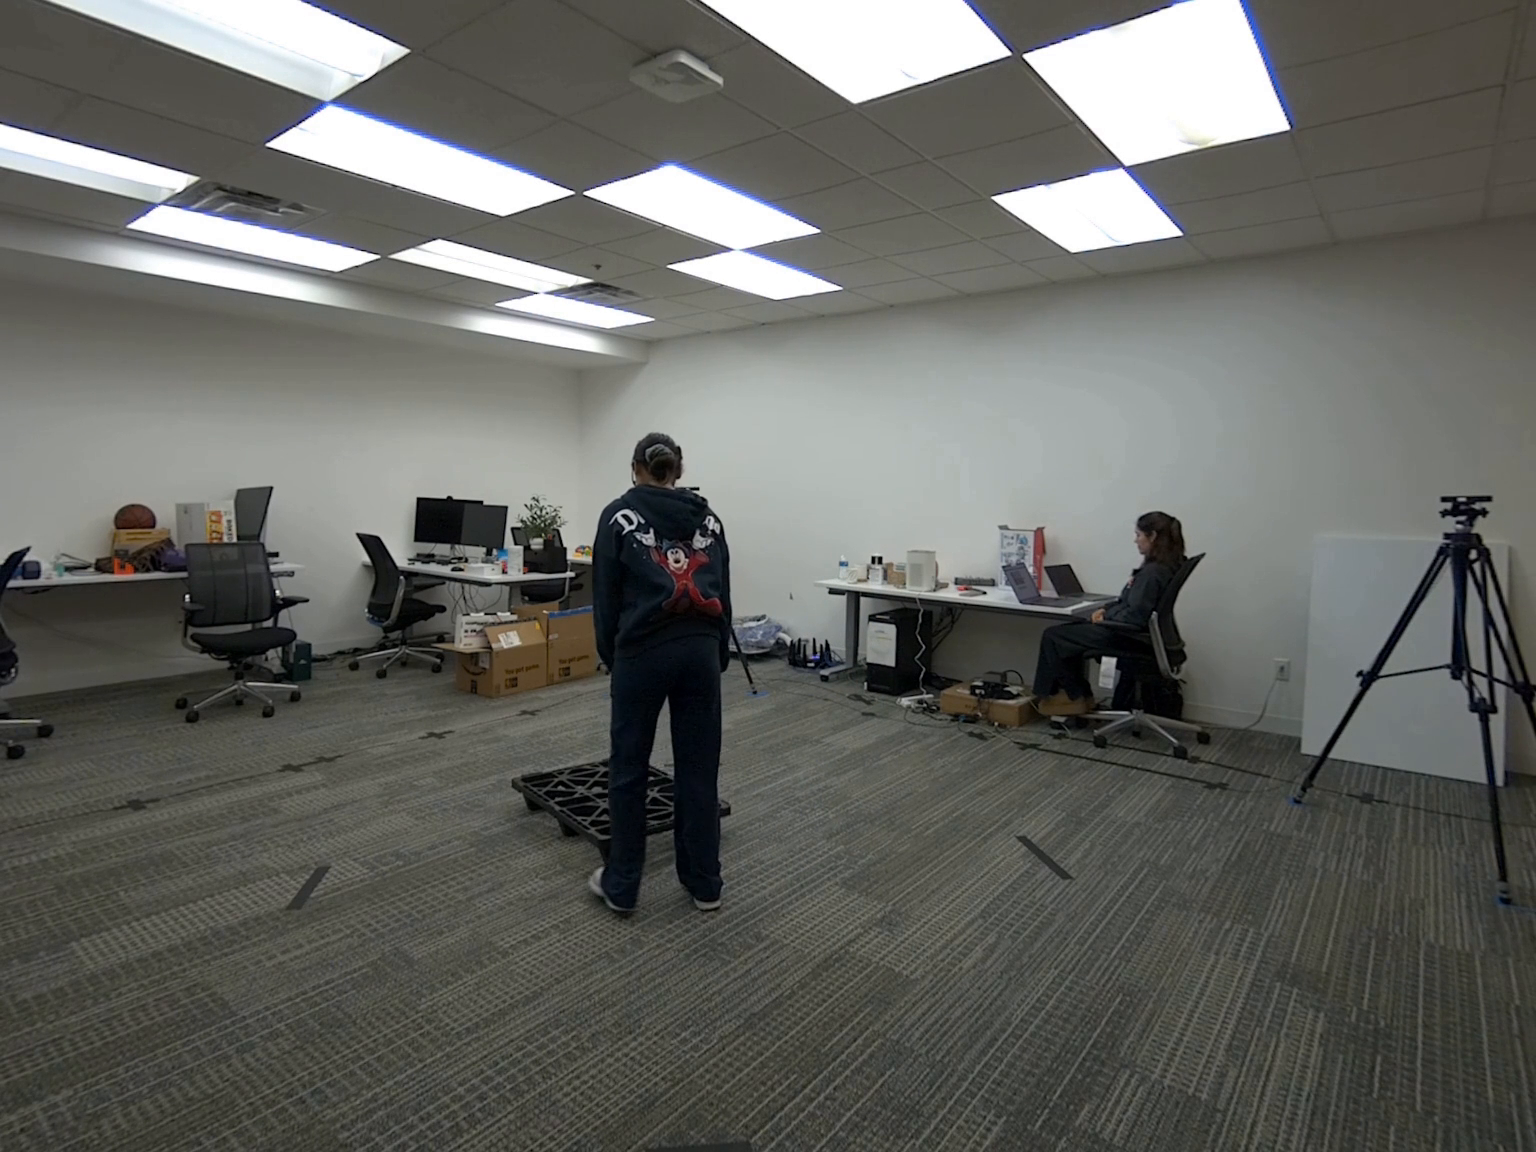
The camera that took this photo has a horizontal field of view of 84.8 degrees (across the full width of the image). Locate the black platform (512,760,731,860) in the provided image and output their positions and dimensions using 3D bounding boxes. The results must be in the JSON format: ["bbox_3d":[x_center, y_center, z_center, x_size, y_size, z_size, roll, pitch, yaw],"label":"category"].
[{"bbox_3d":[-0.639,0.954,3.518,0.587,0.143,0.833,-4,7,-39],"label":"black platform"}]
